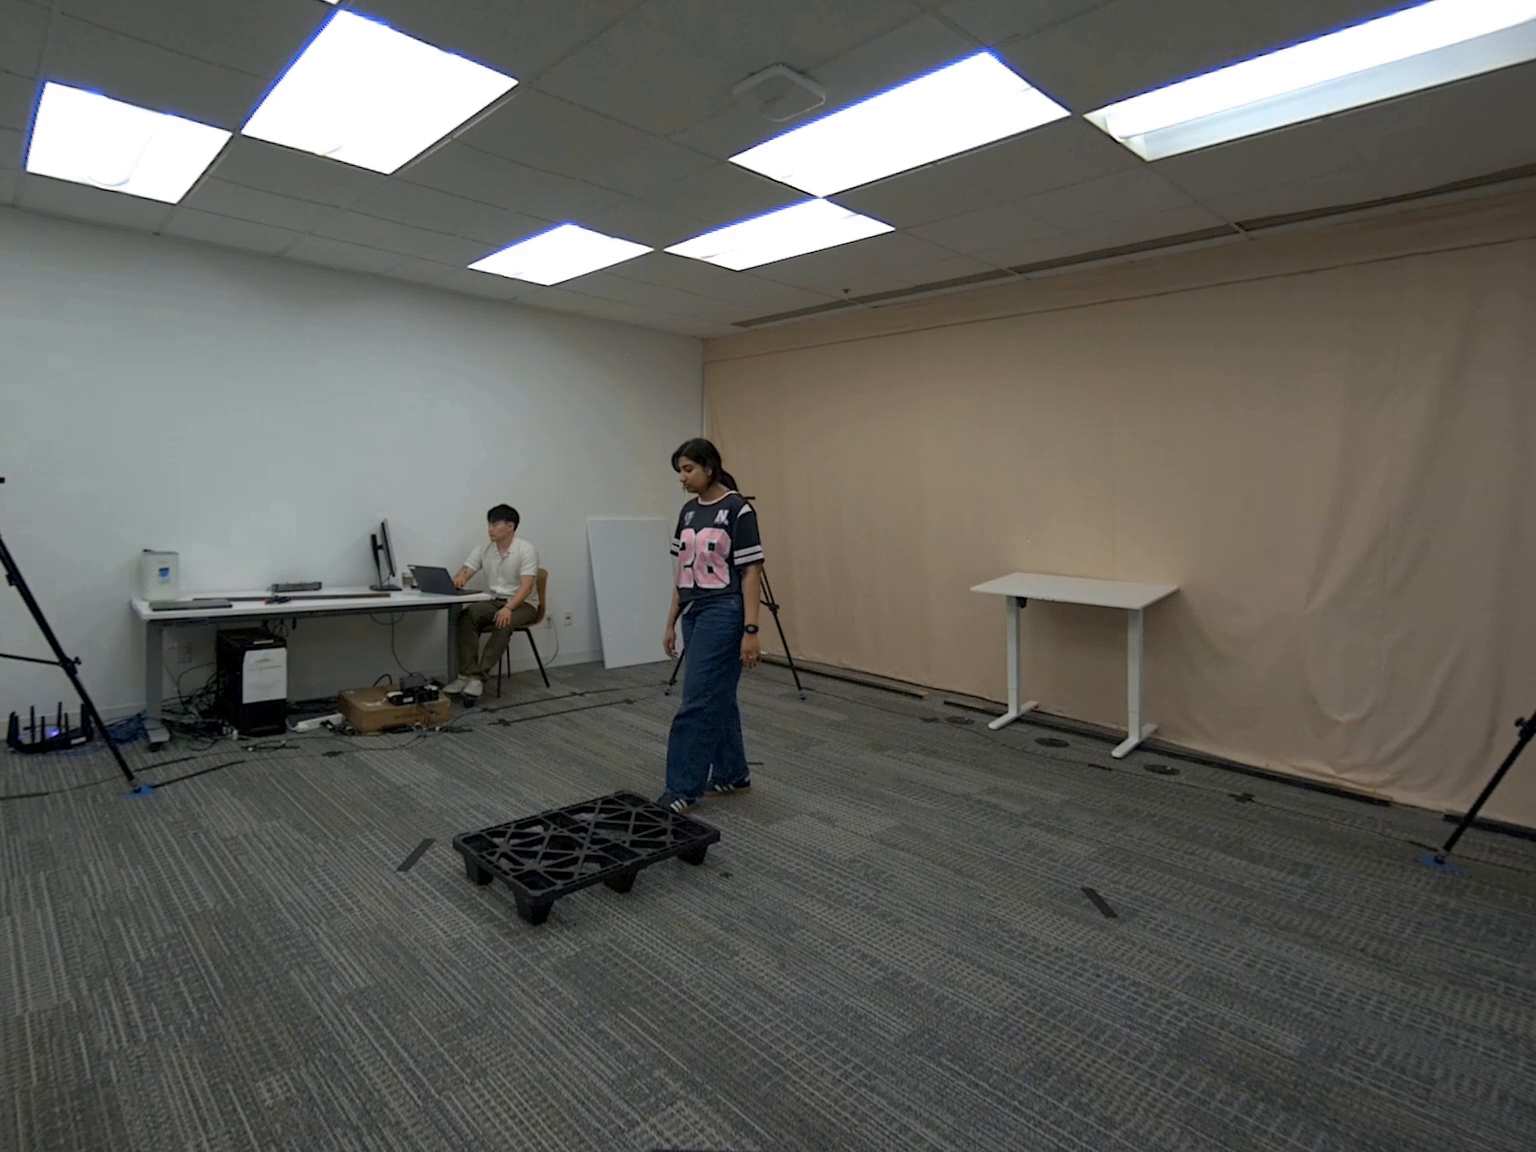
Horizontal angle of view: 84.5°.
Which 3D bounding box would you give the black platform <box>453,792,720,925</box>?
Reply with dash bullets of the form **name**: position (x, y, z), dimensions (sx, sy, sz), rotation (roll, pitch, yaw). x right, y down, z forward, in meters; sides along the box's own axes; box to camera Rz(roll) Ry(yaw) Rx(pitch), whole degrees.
- **black platform**: position (-0.664, 1.027, 3.119), dimensions (0.787, 0.143, 0.621), rotation (-4, 8, -45)
